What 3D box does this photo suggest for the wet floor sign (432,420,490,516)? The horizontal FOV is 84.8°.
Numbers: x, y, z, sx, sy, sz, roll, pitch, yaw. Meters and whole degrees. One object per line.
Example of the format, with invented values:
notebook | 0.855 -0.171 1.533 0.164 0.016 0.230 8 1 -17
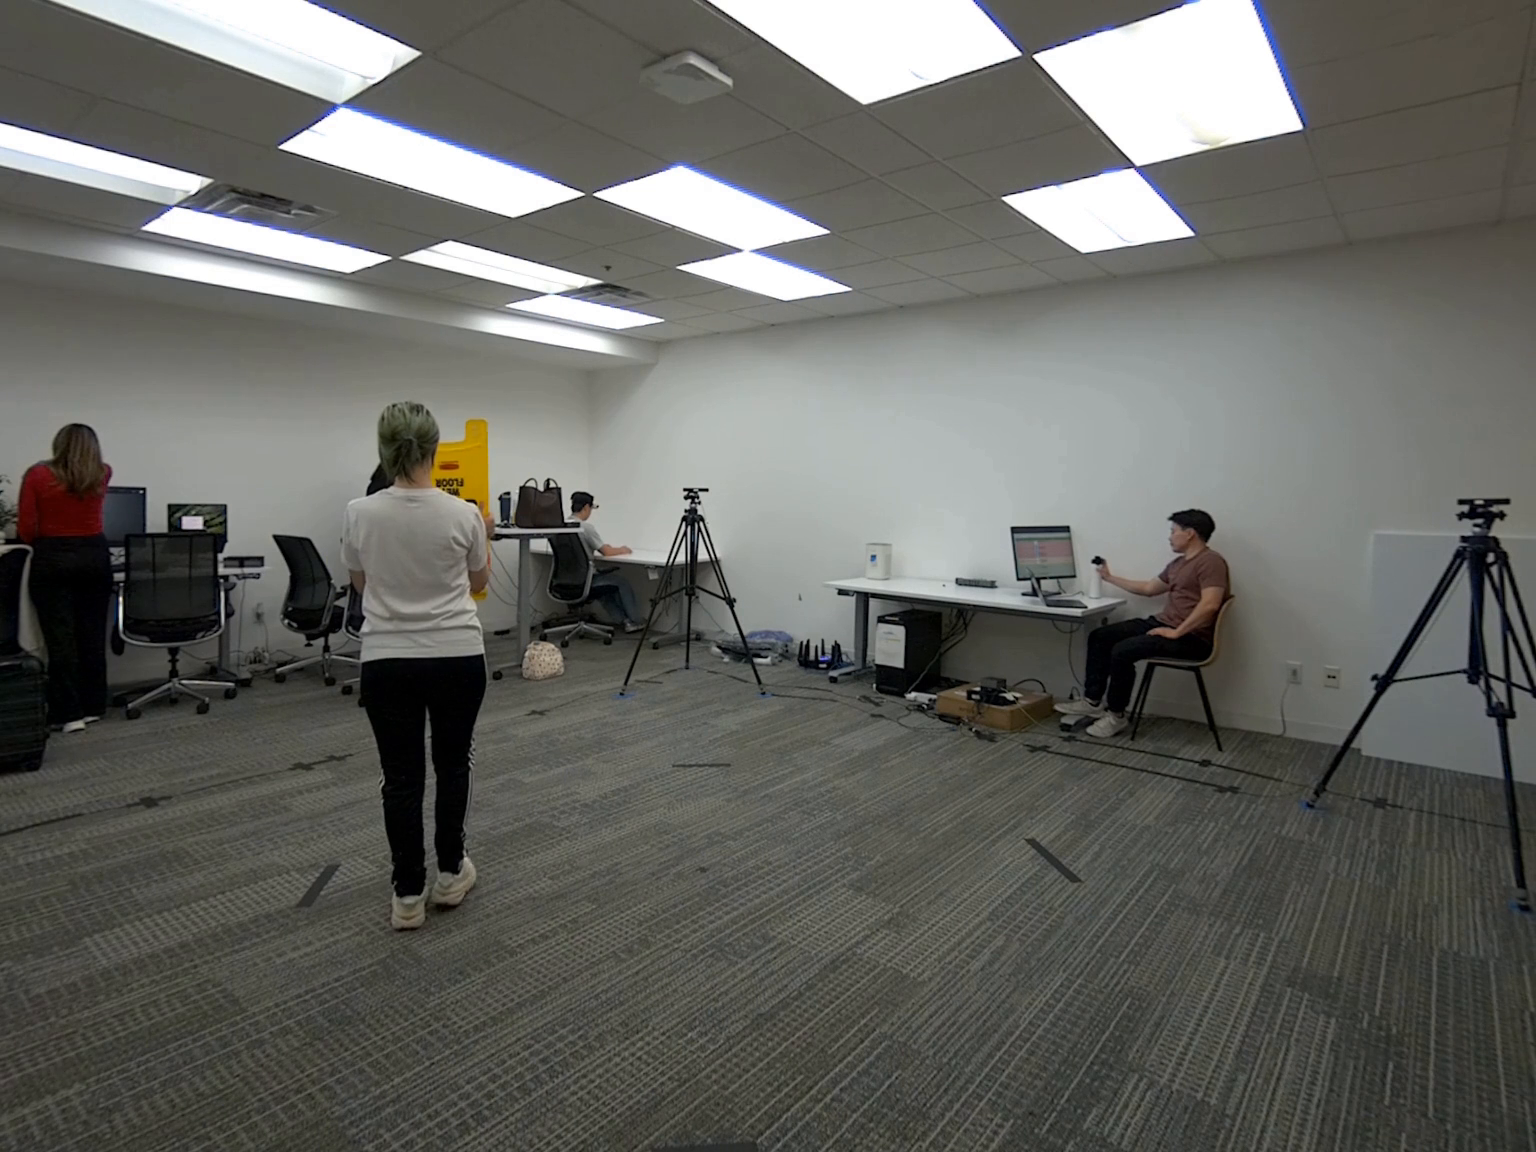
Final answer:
wet floor sign | -1.158 -0.225 3.104 0.278 0.646 0.294 -2 0 -16
